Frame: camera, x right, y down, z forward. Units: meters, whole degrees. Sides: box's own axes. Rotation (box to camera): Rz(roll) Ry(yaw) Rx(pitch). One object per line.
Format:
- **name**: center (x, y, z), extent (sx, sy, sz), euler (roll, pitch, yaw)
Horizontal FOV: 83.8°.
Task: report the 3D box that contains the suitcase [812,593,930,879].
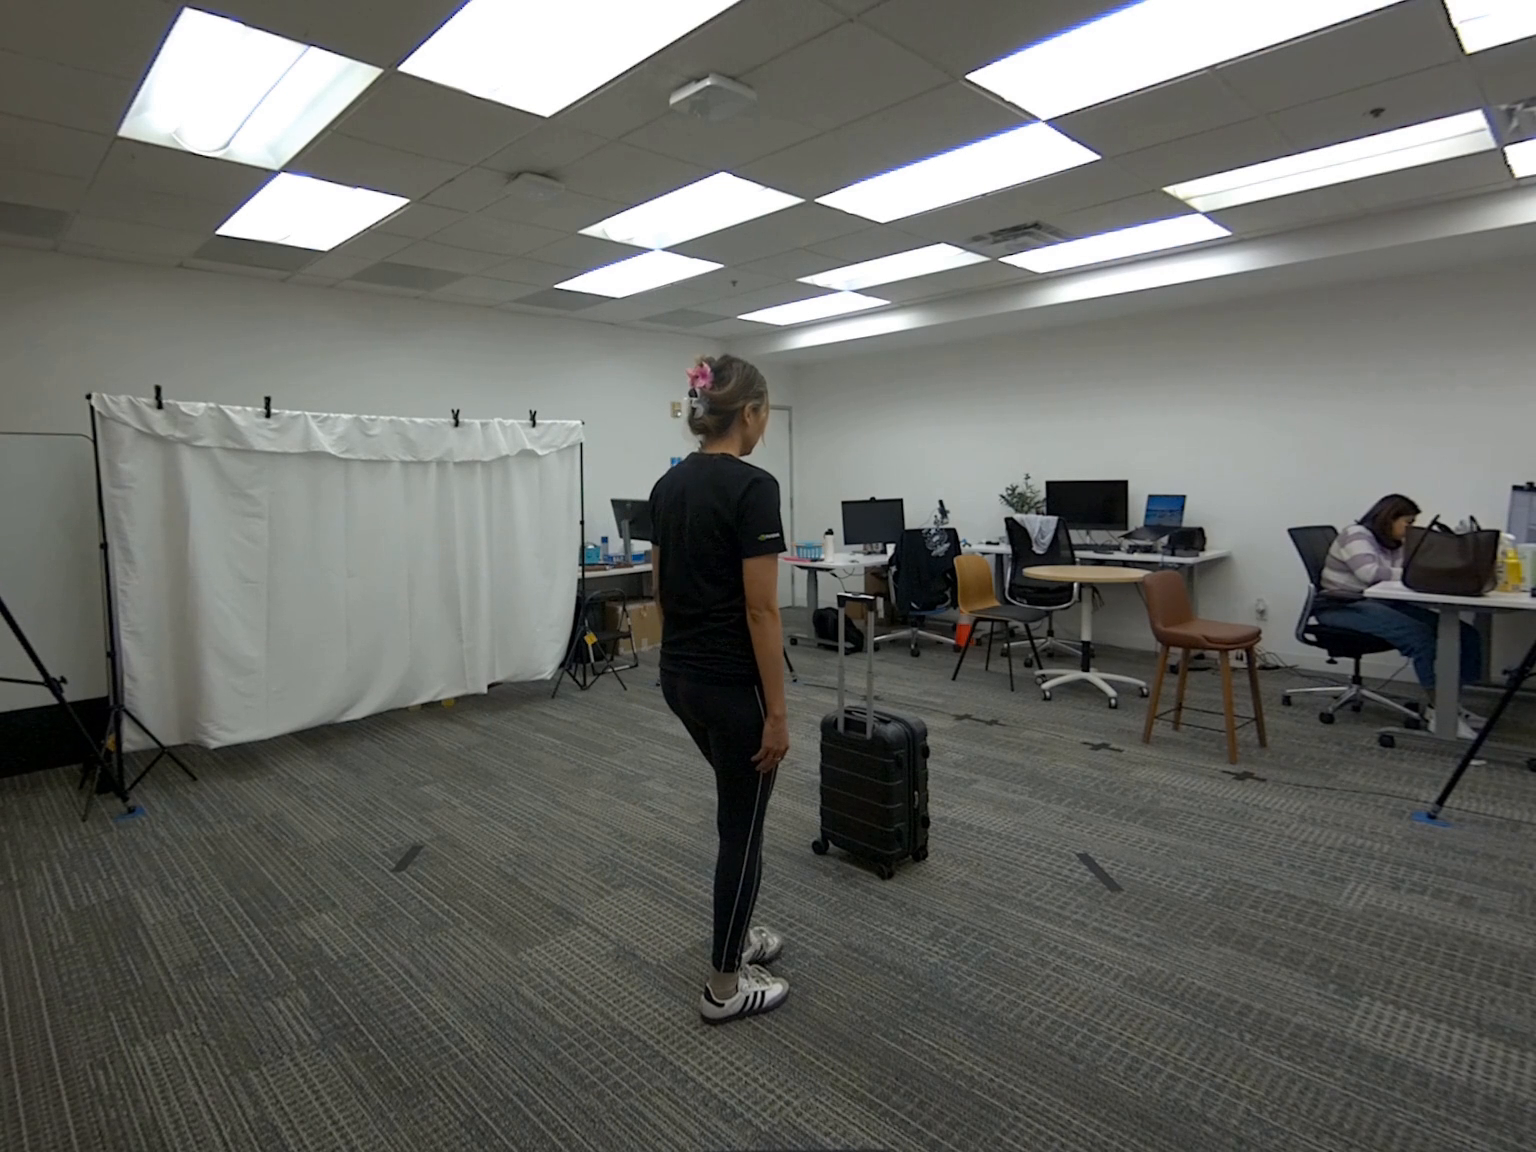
- **suitcase**: center (0.395, 0.563, 3.121), extent (0.250, 0.976, 0.396), euler (-1, 4, -43)
